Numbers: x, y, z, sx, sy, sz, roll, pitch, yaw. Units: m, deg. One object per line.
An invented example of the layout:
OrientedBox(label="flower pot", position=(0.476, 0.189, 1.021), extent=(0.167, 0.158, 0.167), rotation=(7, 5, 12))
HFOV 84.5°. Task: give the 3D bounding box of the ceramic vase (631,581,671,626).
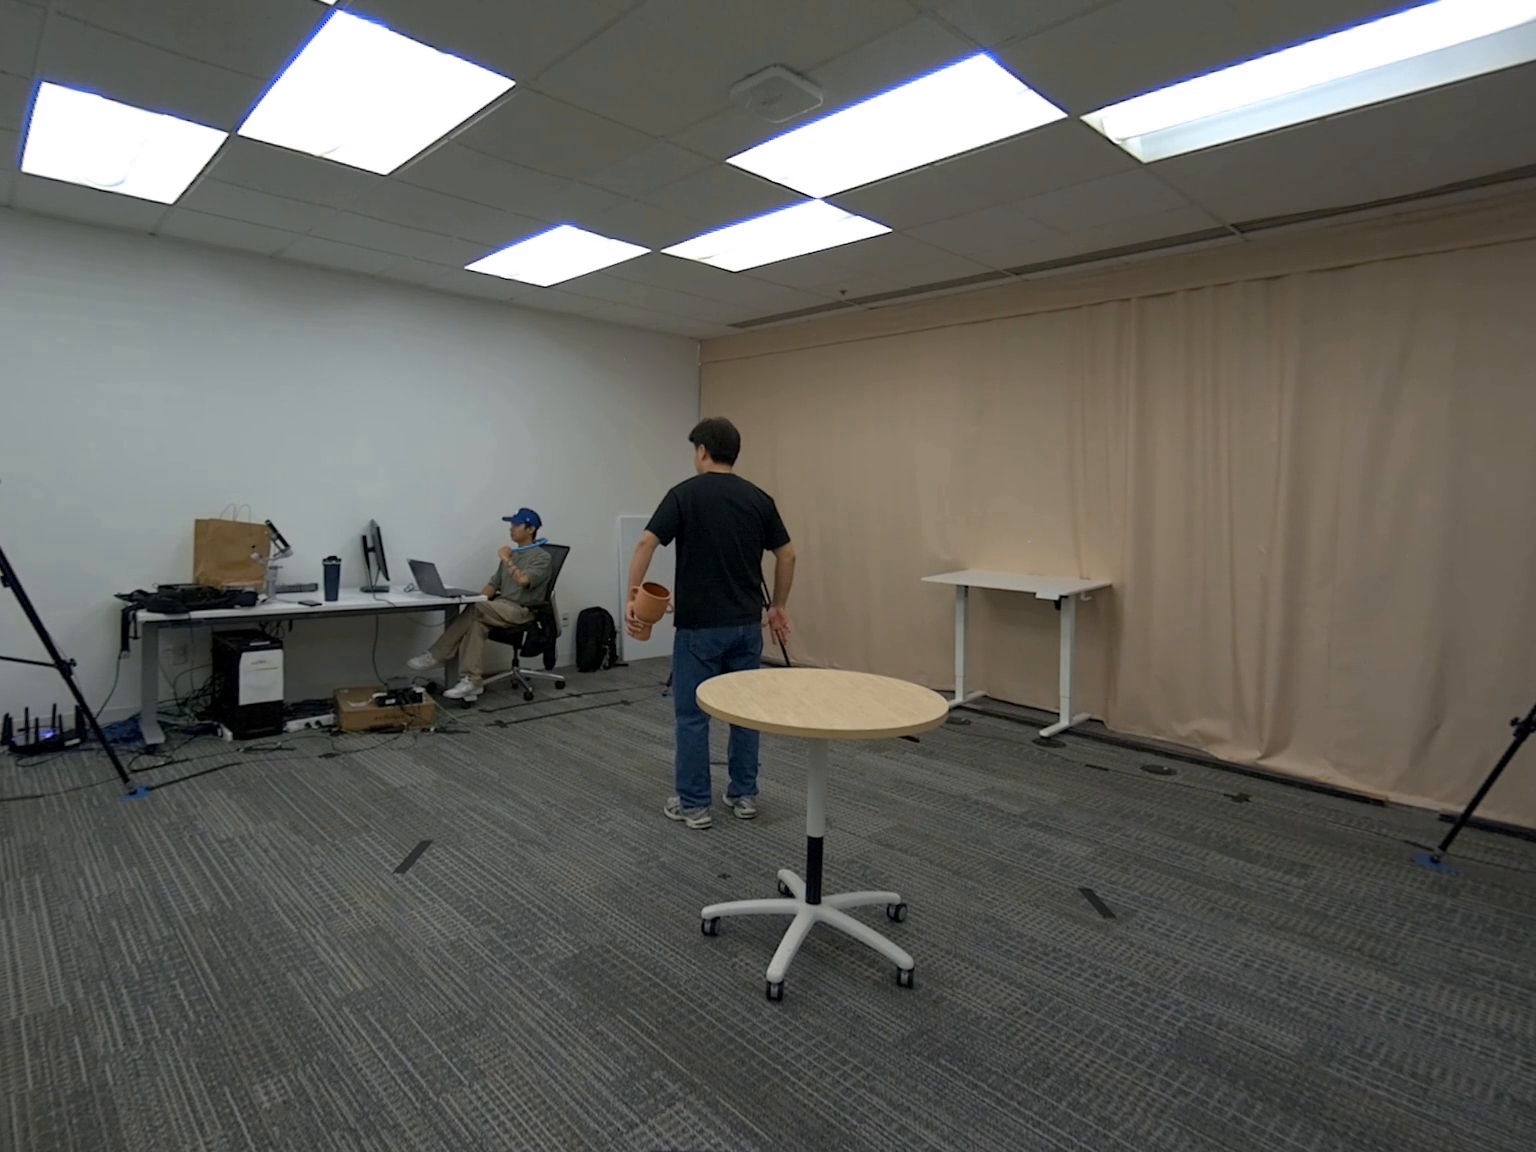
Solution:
OrientedBox(label="ceramic vase", position=(-0.511, 0.148, 3.465), extent=(0.131, 0.218, 0.164), rotation=(3, 28, -42))
